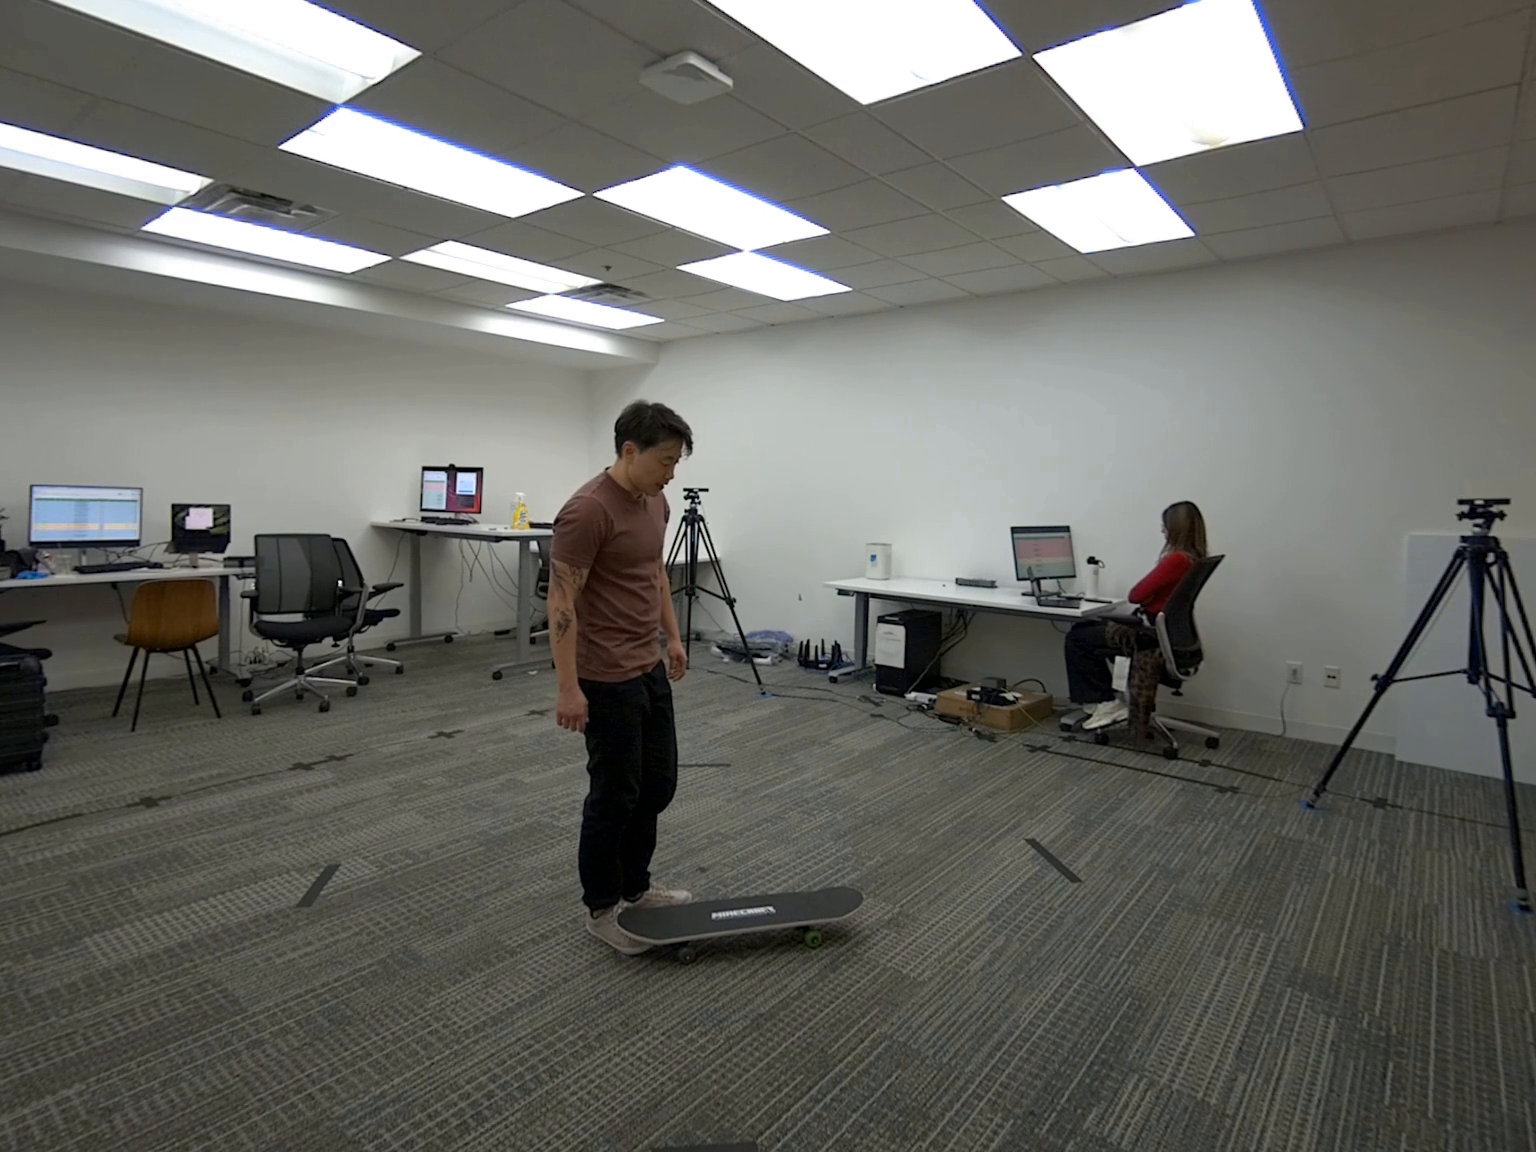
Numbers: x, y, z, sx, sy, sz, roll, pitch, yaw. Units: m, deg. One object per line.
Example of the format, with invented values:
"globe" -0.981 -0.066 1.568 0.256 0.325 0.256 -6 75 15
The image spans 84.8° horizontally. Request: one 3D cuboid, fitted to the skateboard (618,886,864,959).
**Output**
"skateboard" -0.081 1.069 2.611 0.773 0.110 0.197 0 5 -15
